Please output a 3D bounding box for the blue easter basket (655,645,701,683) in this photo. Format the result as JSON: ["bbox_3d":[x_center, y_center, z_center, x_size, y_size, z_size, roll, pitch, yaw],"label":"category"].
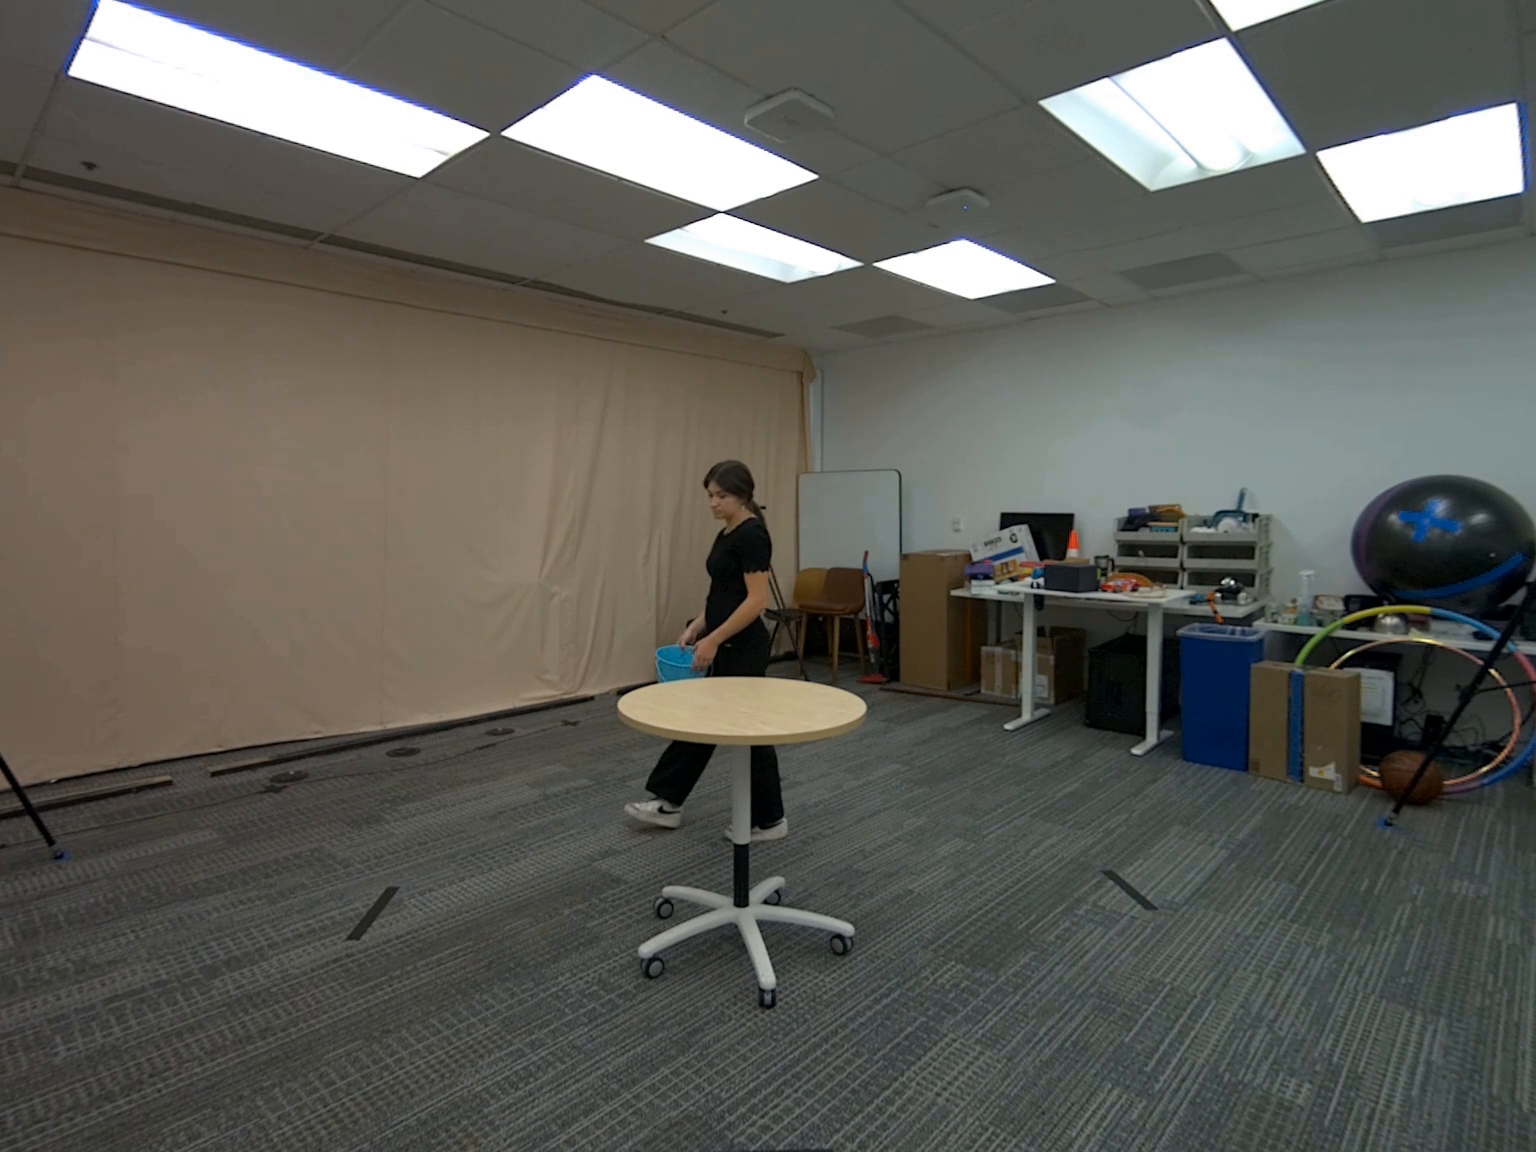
[{"bbox_3d":[-0.343,0.396,3.451,0.243,0.155,0.246,5,12,-3],"label":"blue easter basket"}]
